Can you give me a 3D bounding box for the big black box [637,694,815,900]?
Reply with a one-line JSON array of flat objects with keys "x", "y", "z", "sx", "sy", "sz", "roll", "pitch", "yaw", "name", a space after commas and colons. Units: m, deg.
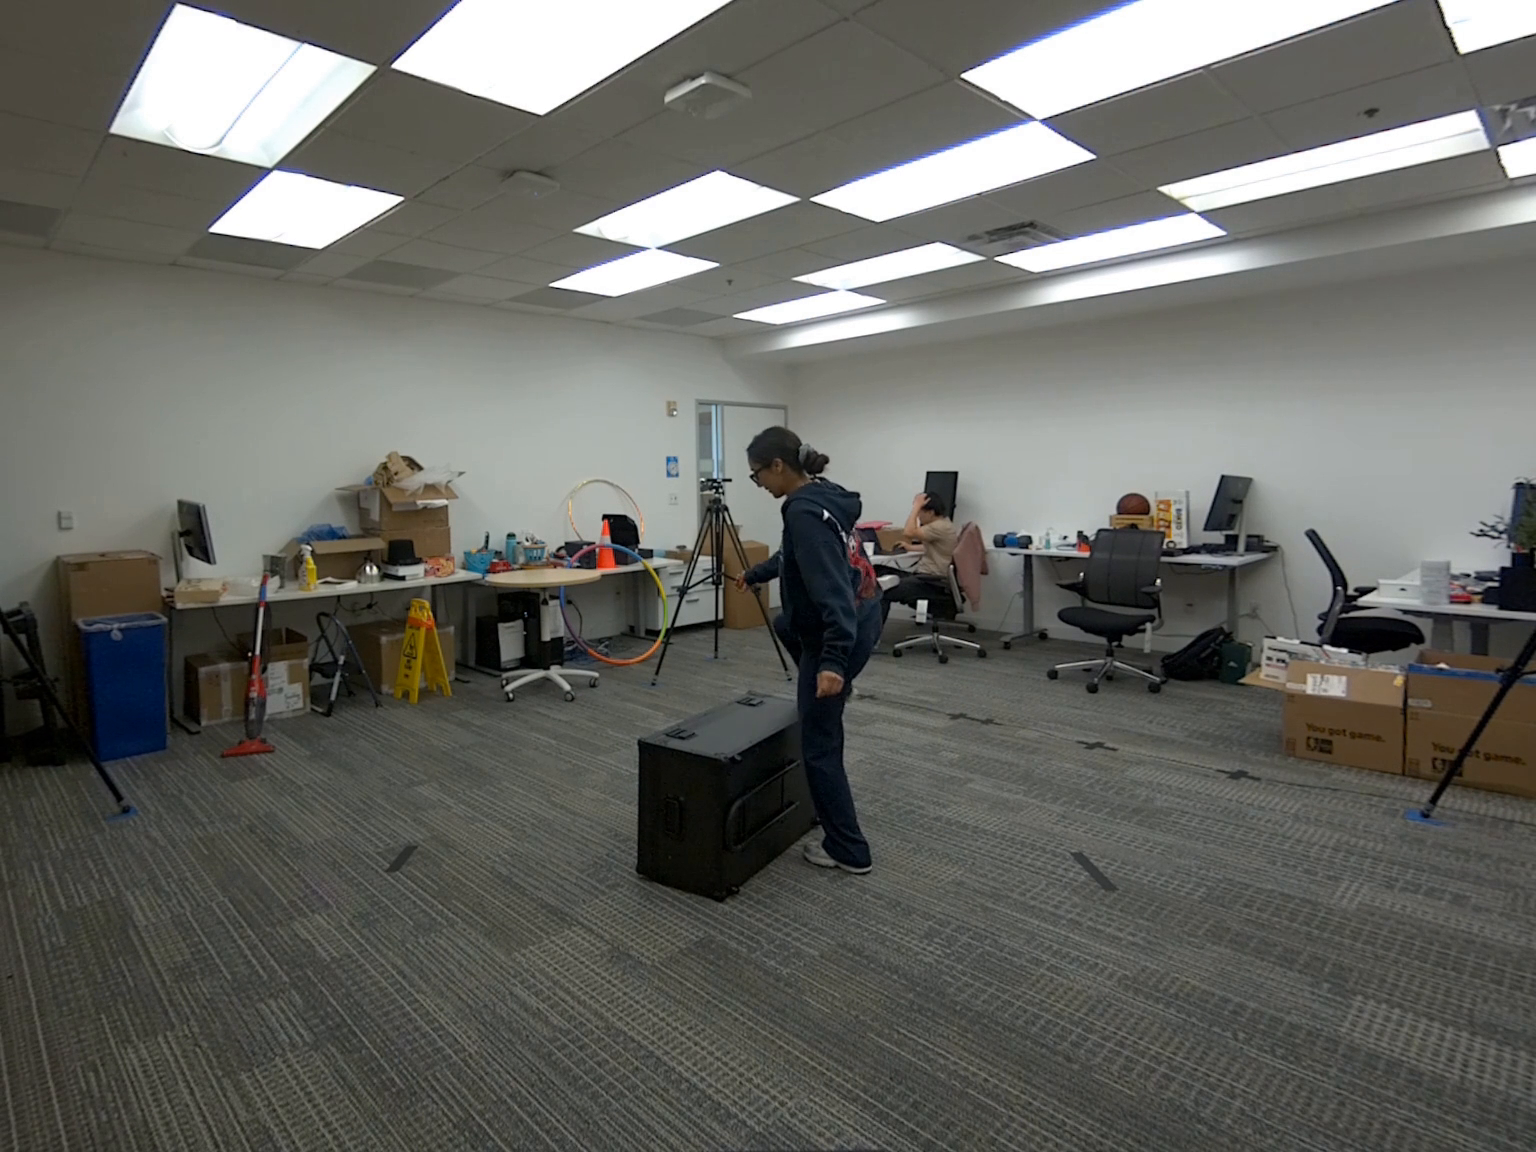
[{"x": -0.088, "y": 0.776, "z": 3.236, "sx": 0.407, "sy": 0.518, "sz": 0.843, "roll": 5, "pitch": 8, "yaw": 29, "name": "big black box"}]
